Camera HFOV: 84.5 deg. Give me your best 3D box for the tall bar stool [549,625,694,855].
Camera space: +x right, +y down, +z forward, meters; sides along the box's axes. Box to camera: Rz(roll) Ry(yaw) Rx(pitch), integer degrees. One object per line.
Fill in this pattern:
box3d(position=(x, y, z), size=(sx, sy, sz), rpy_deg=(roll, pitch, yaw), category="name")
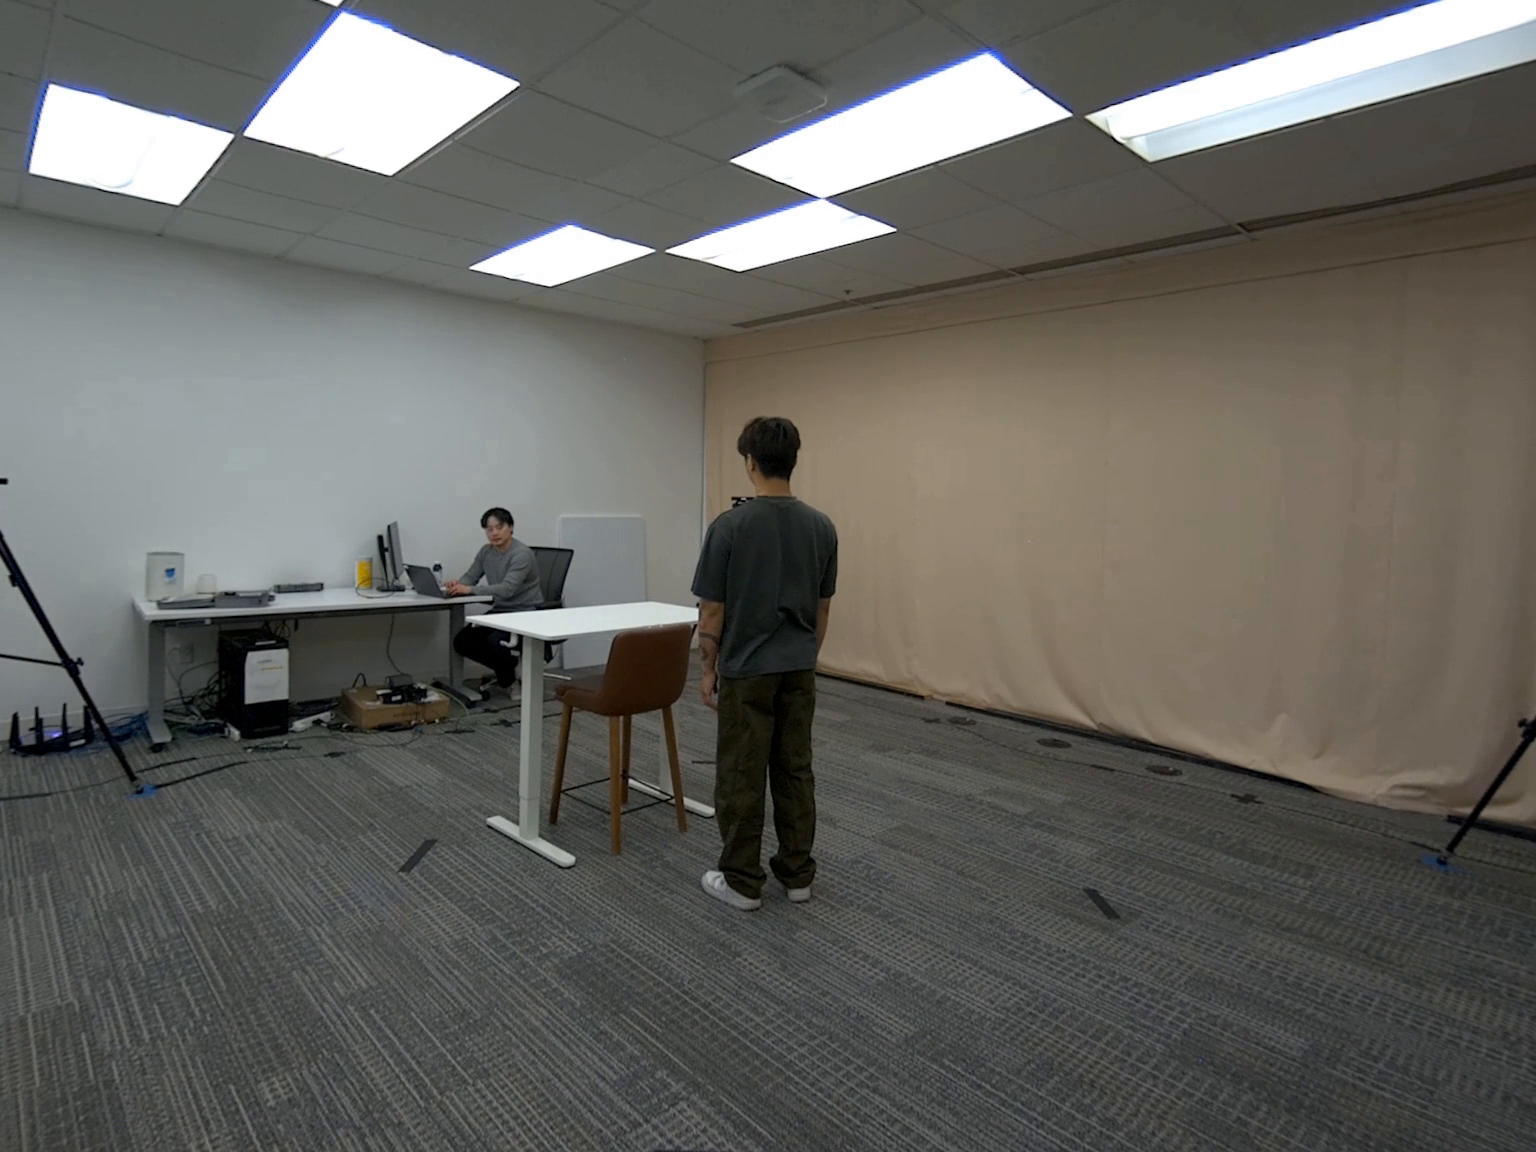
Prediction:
box3d(position=(-0.617, 0.626, 3.513), size=(0.480, 0.887, 0.446), rpy_deg=(7, 6, 43), category="tall bar stool")
